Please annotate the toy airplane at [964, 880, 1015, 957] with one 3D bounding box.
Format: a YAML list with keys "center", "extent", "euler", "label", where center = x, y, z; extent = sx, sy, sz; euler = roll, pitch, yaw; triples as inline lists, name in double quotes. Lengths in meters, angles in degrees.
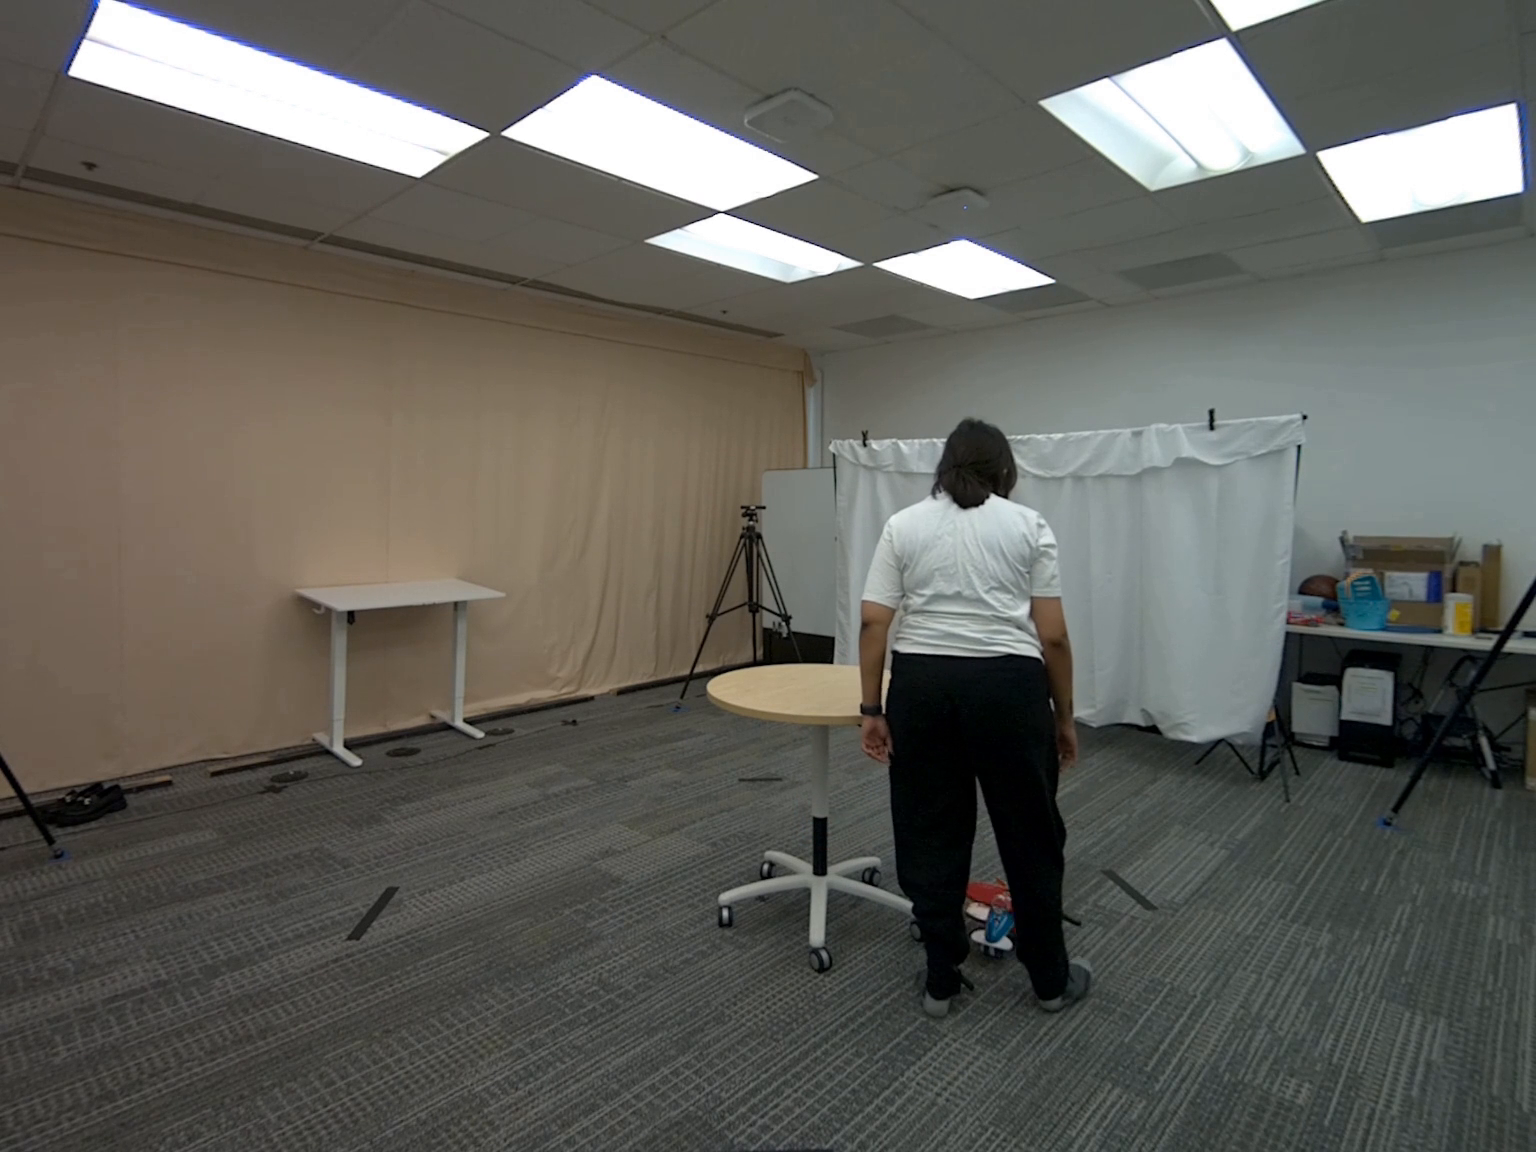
- center: [0.770, 1.095, 2.659]
  extent: [0.253, 0.156, 0.258]
  euler: [1, 4, 4]
  label: "toy airplane"
